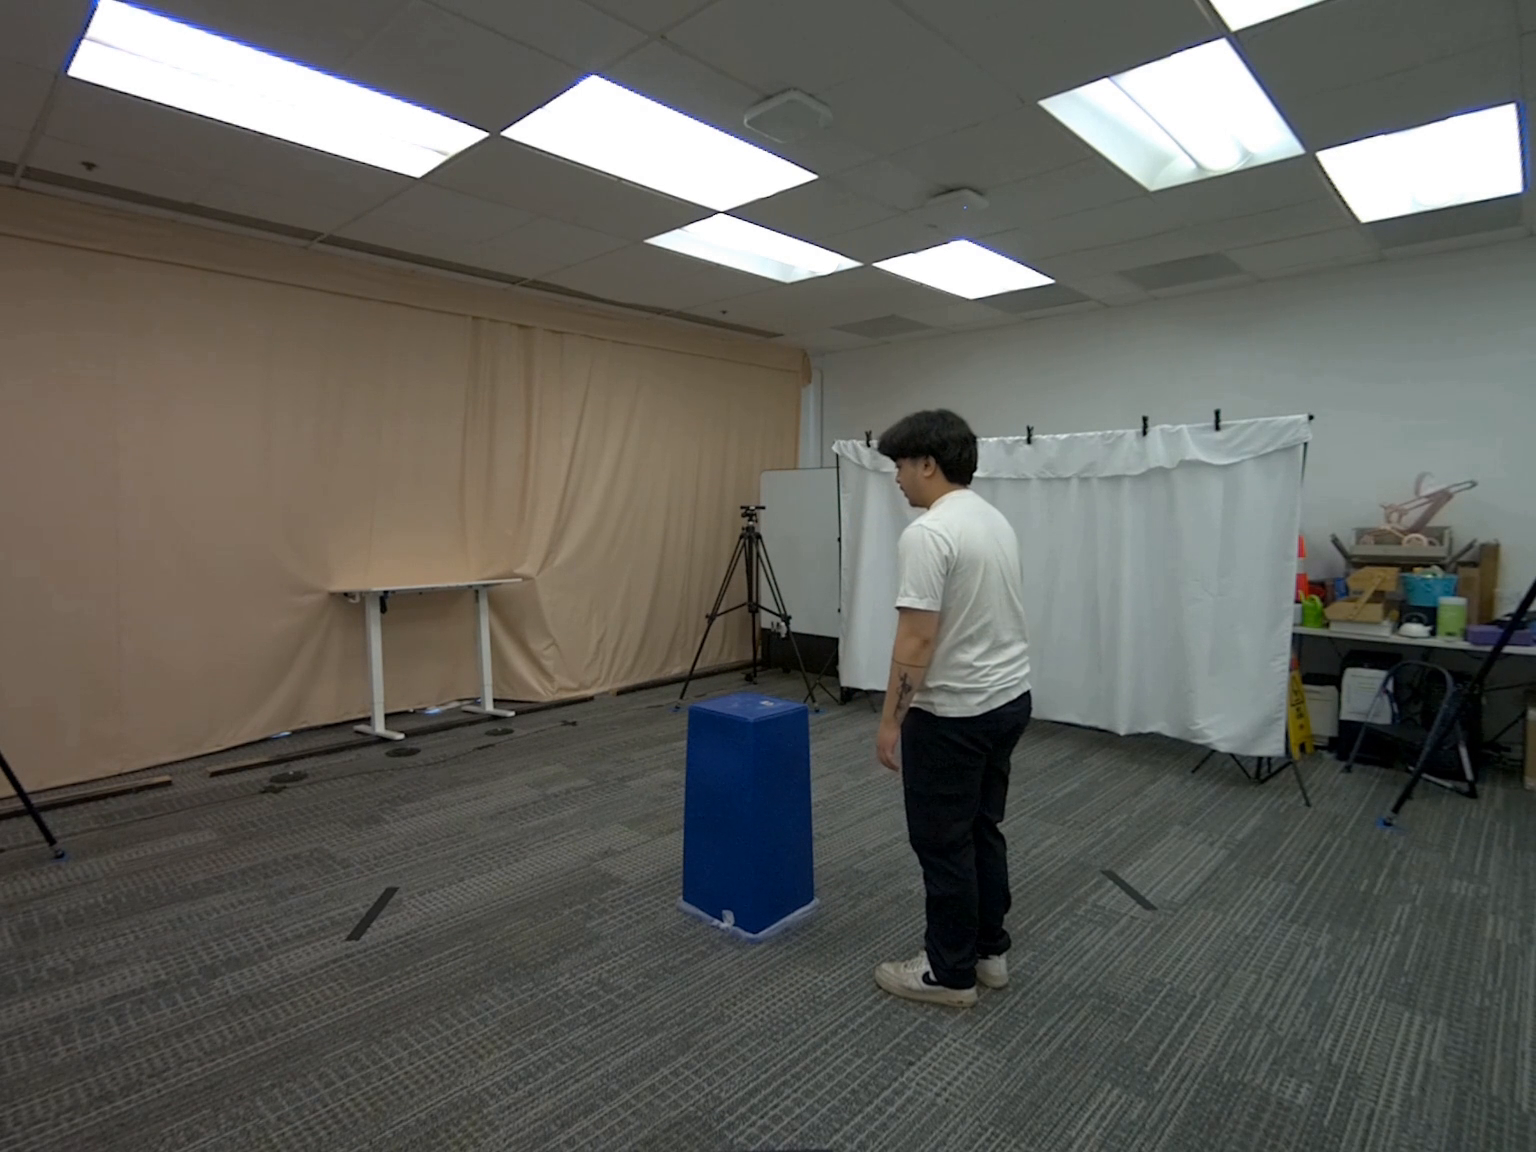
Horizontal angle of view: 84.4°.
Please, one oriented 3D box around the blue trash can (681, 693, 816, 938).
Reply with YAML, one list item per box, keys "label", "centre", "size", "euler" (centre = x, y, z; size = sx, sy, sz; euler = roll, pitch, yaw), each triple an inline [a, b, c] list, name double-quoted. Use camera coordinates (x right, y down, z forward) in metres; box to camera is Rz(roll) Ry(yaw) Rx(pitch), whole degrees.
- label: "blue trash can"
  centre: [-0.058, 0.796, 2.911]
  size: [0.391, 0.712, 0.362]
  euler: [3, 4, 42]
